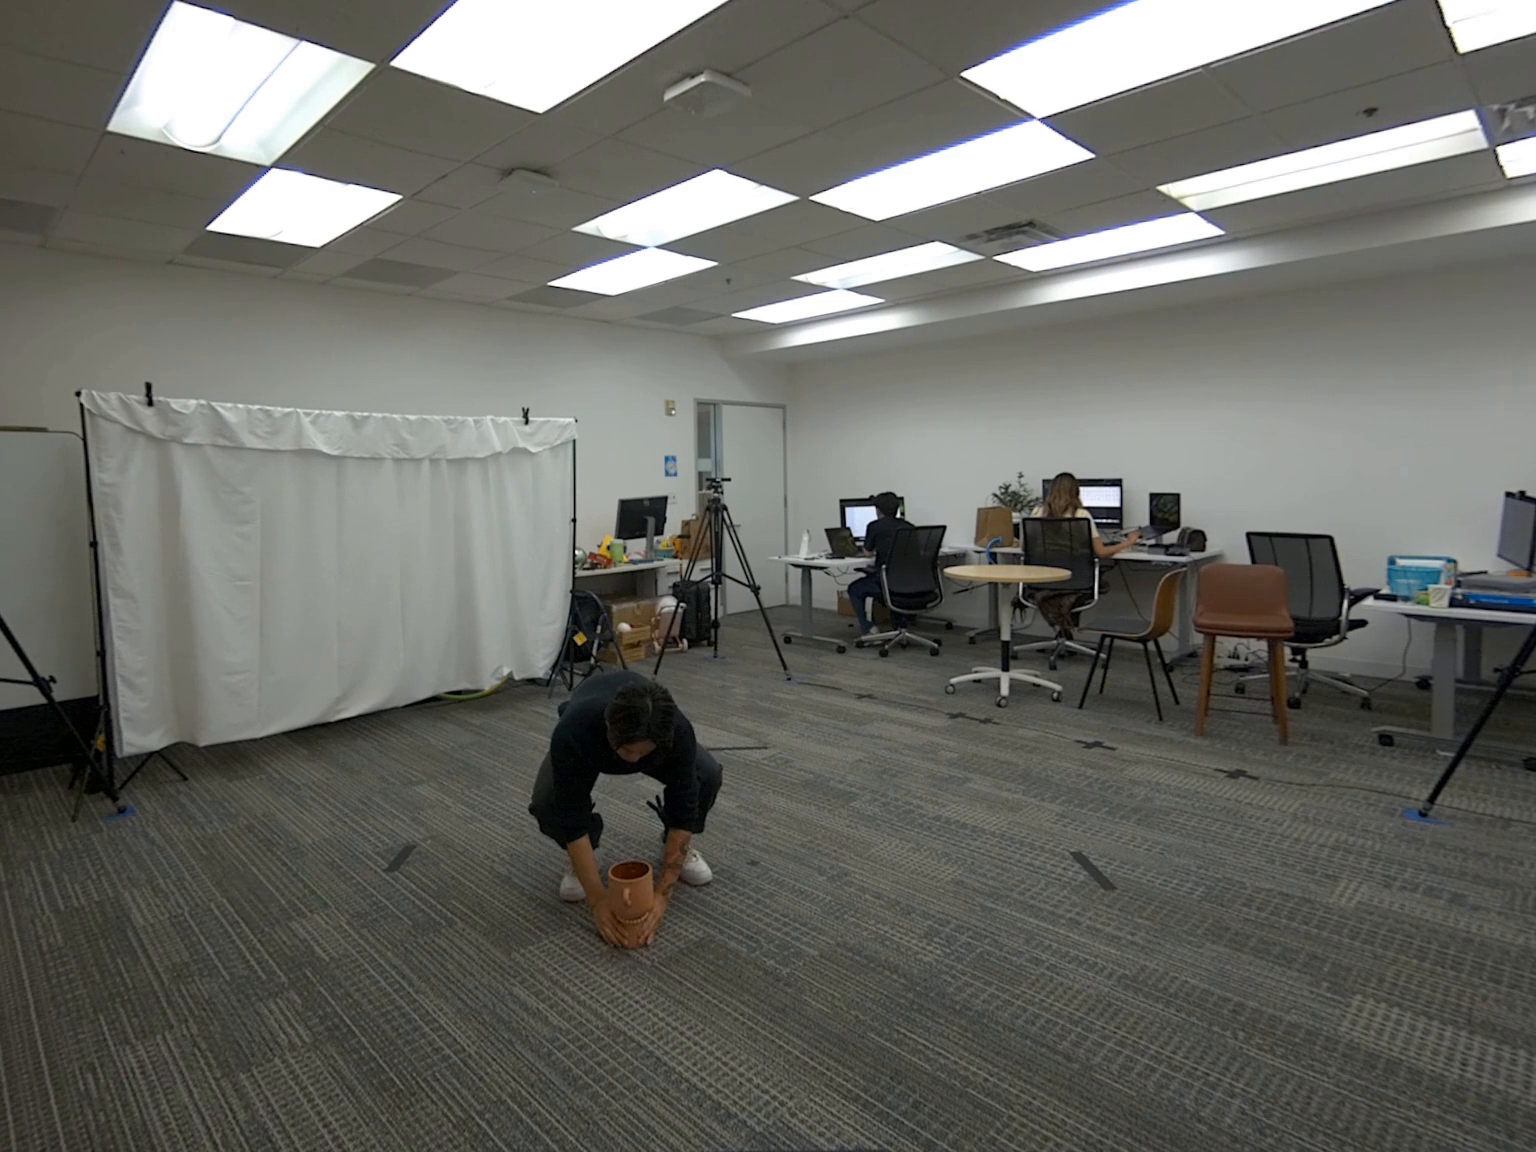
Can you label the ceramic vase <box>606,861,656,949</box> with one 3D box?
[{"bbox_3d":[-0.406,0.993,2.593,0.139,0.218,0.155,5,9,41],"label":"ceramic vase"}]
